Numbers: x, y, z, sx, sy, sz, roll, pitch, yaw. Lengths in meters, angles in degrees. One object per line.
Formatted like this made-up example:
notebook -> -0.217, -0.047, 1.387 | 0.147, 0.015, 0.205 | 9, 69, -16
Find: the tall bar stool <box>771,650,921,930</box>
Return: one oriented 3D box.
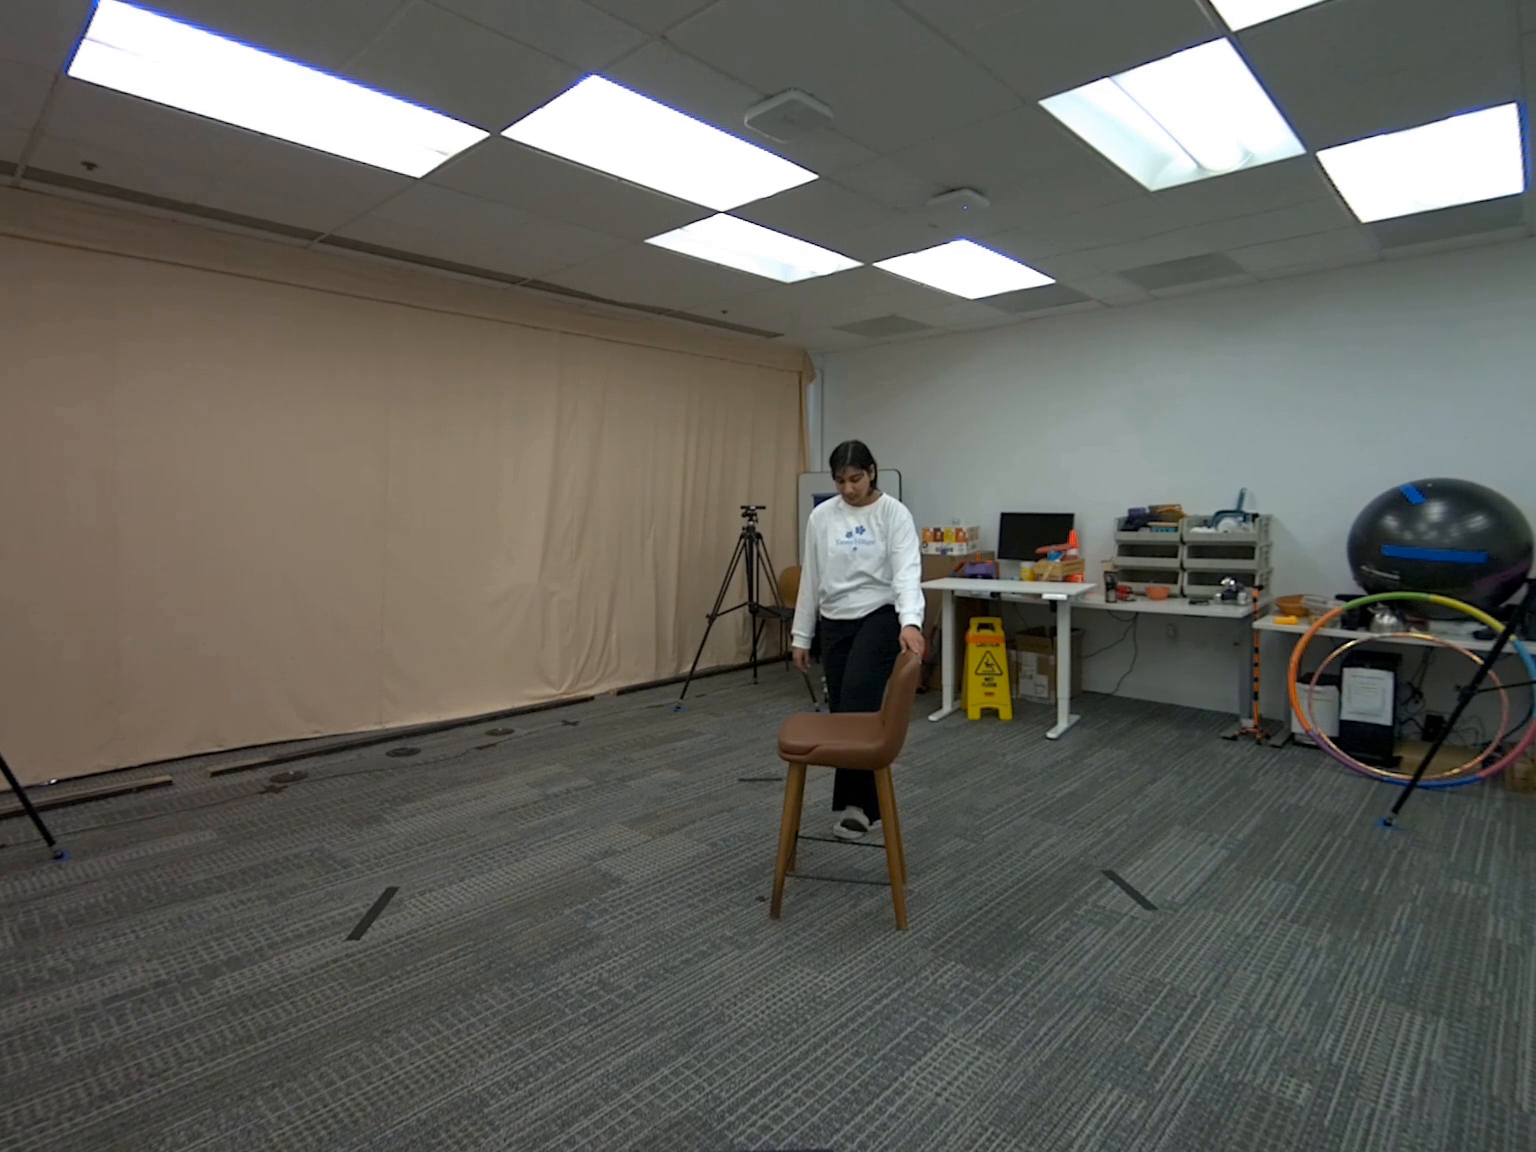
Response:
tall bar stool -> 0.271, 0.708, 2.962 | 0.474, 0.888, 0.451 | 3, 3, 12
